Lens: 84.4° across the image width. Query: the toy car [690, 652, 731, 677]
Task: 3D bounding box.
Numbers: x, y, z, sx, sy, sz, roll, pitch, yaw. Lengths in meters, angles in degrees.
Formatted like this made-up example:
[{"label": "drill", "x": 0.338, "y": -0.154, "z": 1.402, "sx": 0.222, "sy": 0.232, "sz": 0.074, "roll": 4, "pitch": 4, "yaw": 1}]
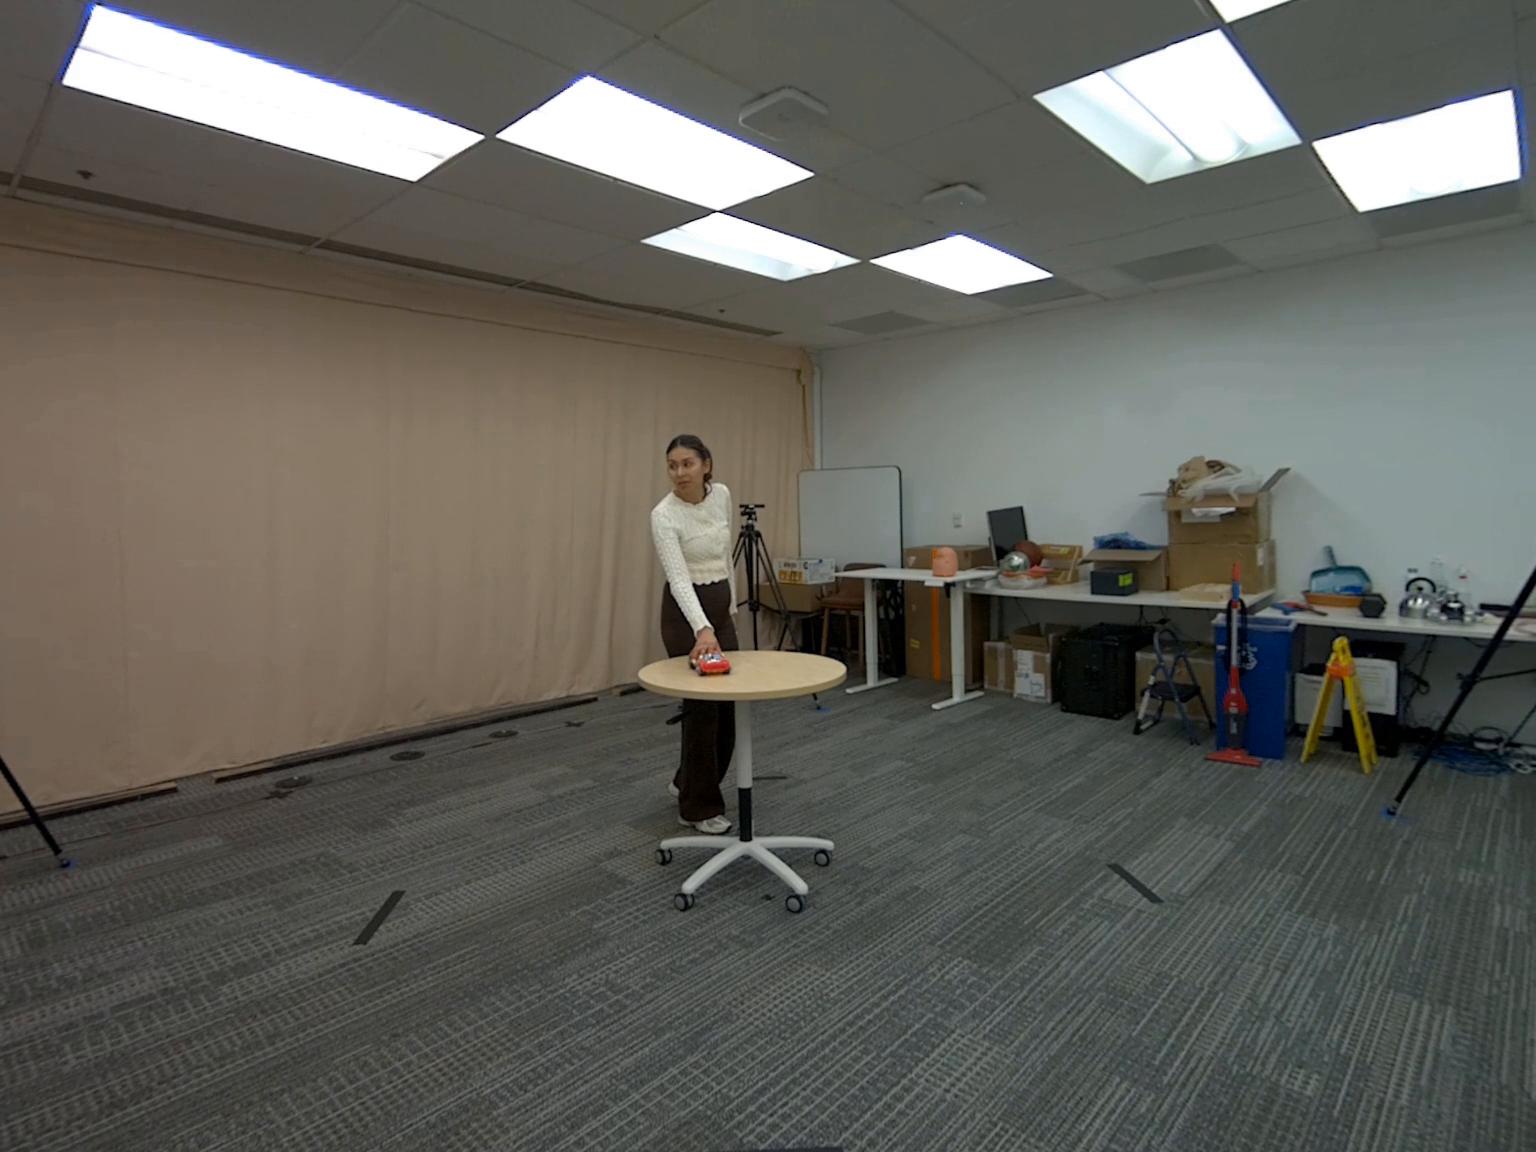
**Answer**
[{"label": "toy car", "x": -0.215, "y": 0.316, "z": 3.118, "sx": 0.128, "sy": 0.082, "sz": 0.260, "roll": -4, "pitch": 16, "yaw": -15}]
